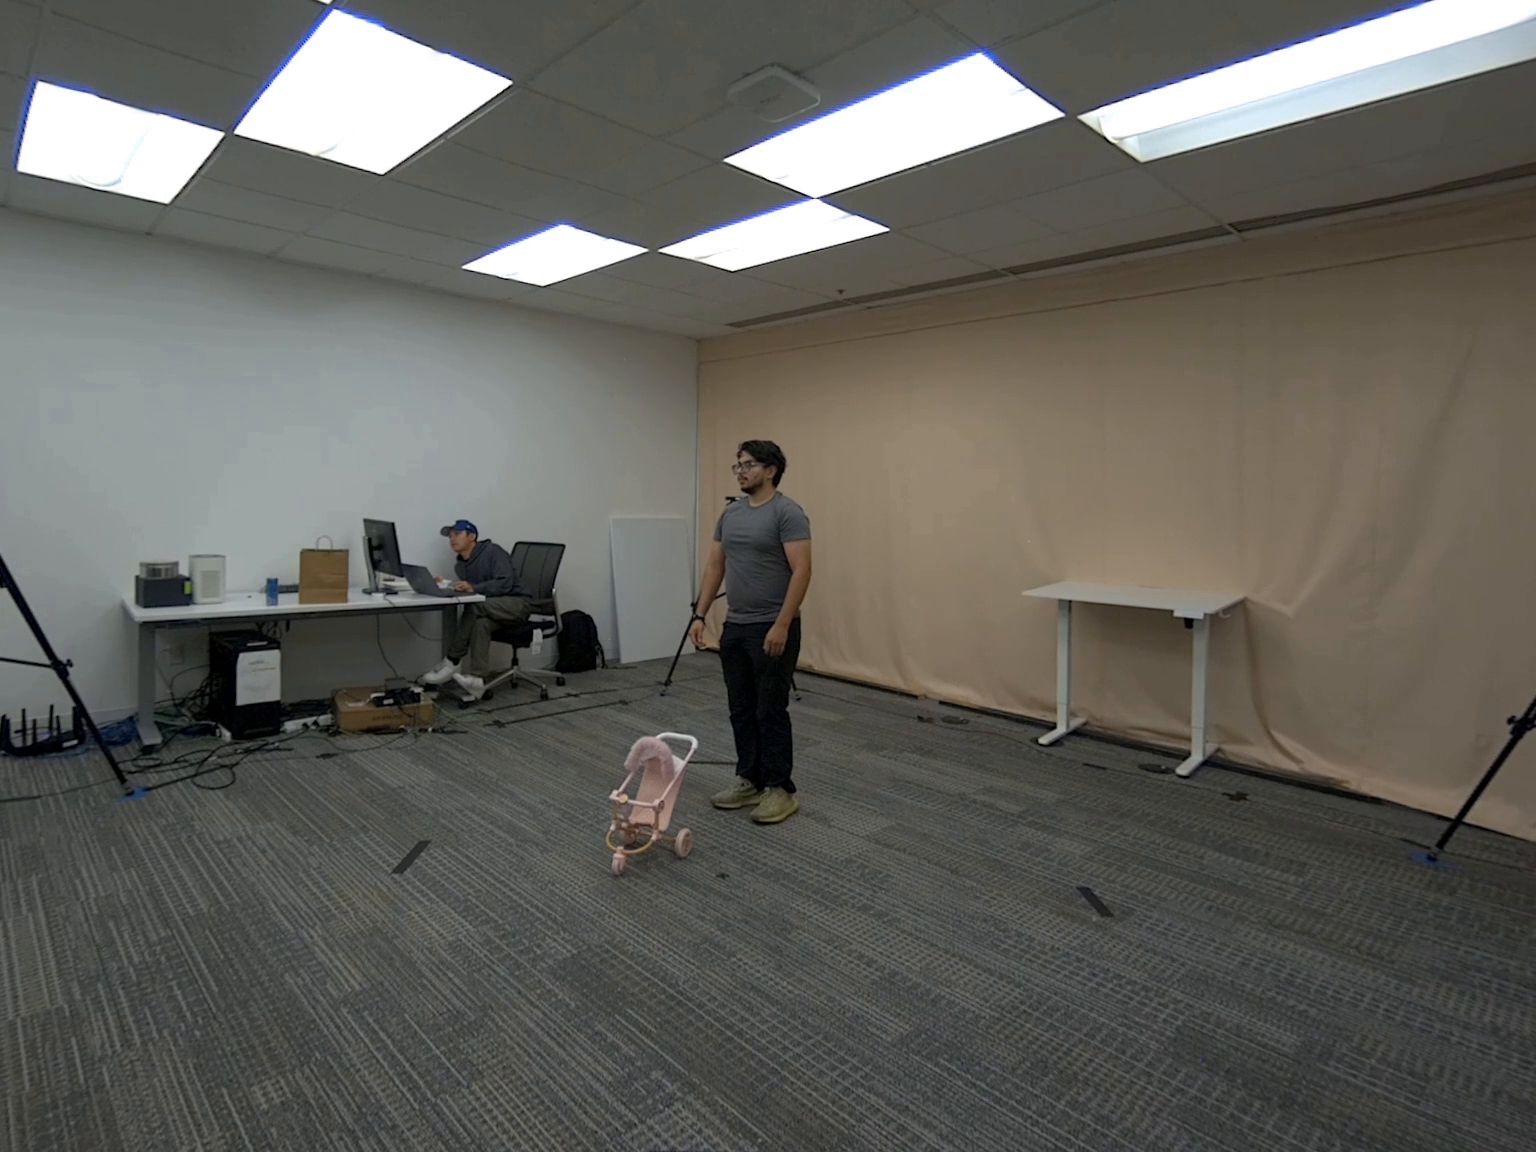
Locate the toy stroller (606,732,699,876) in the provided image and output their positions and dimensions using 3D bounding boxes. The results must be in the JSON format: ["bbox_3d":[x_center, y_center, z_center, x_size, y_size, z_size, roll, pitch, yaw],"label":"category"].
[{"bbox_3d":[-0.475,0.868,3.250,0.288,0.539,0.331,3,-13,31],"label":"toy stroller"}]
